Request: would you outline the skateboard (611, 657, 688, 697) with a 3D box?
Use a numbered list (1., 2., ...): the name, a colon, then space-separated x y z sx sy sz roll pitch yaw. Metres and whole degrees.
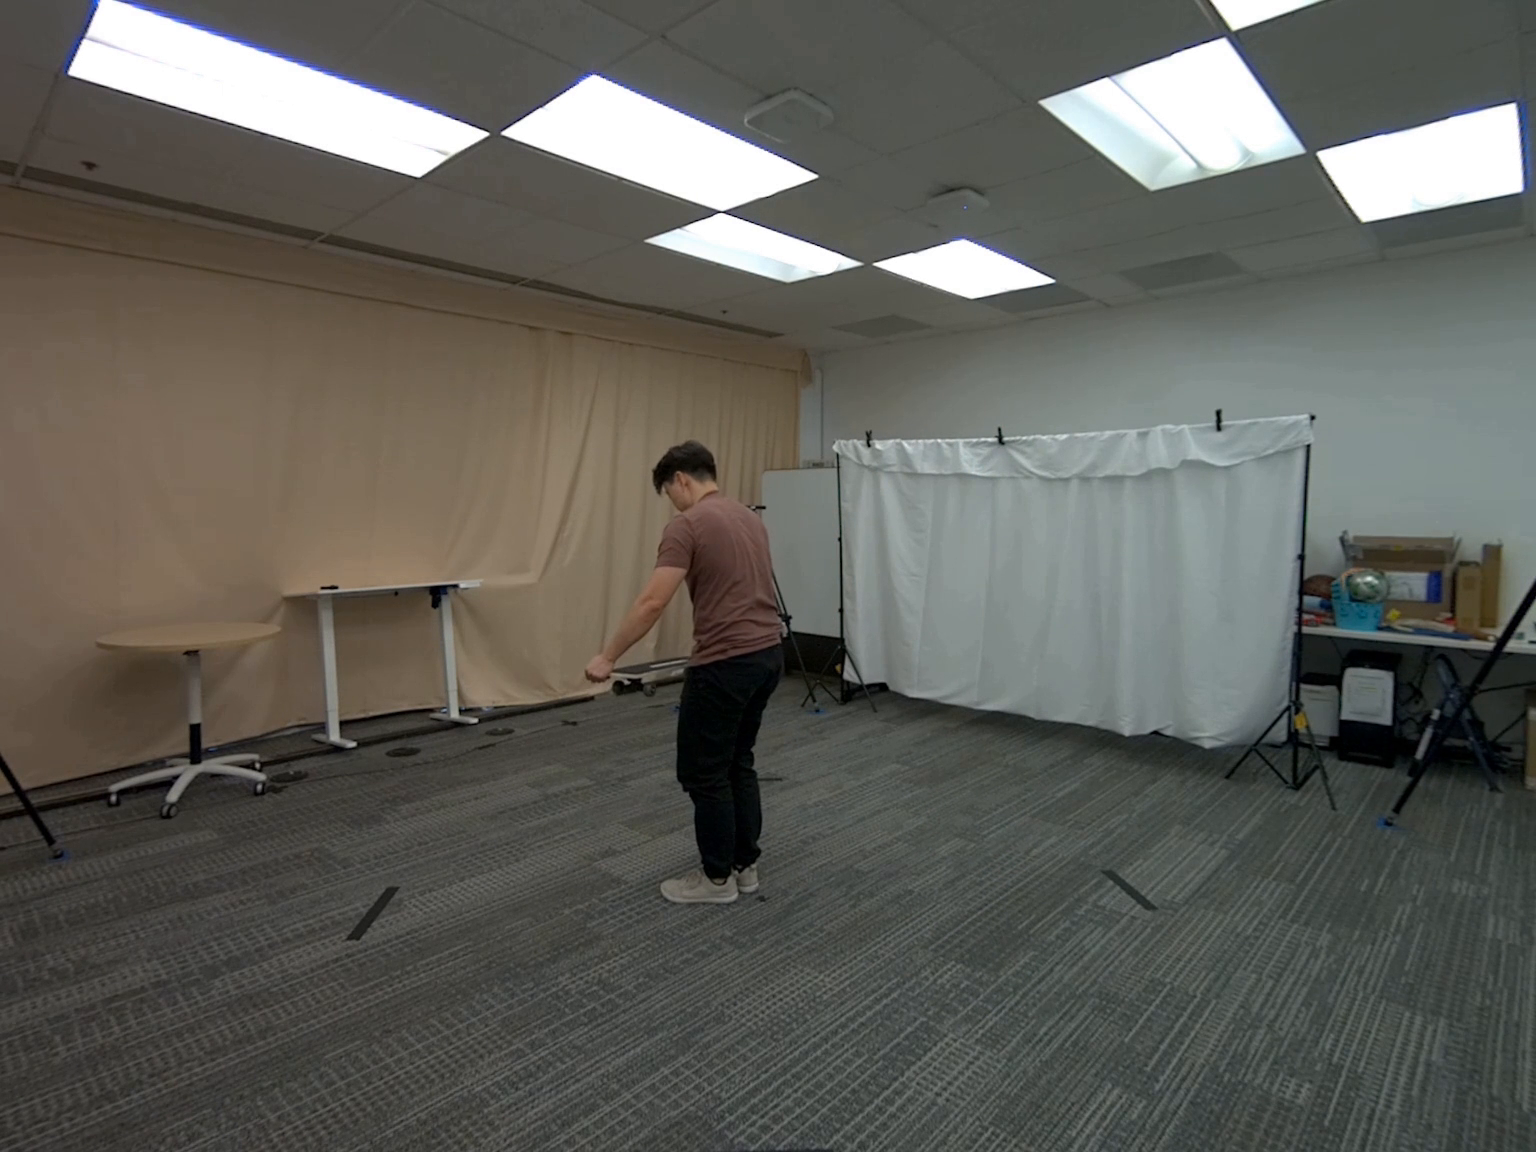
1. skateboard: -0.373 0.367 3.144 0.199 0.110 0.762 -3 0 37
